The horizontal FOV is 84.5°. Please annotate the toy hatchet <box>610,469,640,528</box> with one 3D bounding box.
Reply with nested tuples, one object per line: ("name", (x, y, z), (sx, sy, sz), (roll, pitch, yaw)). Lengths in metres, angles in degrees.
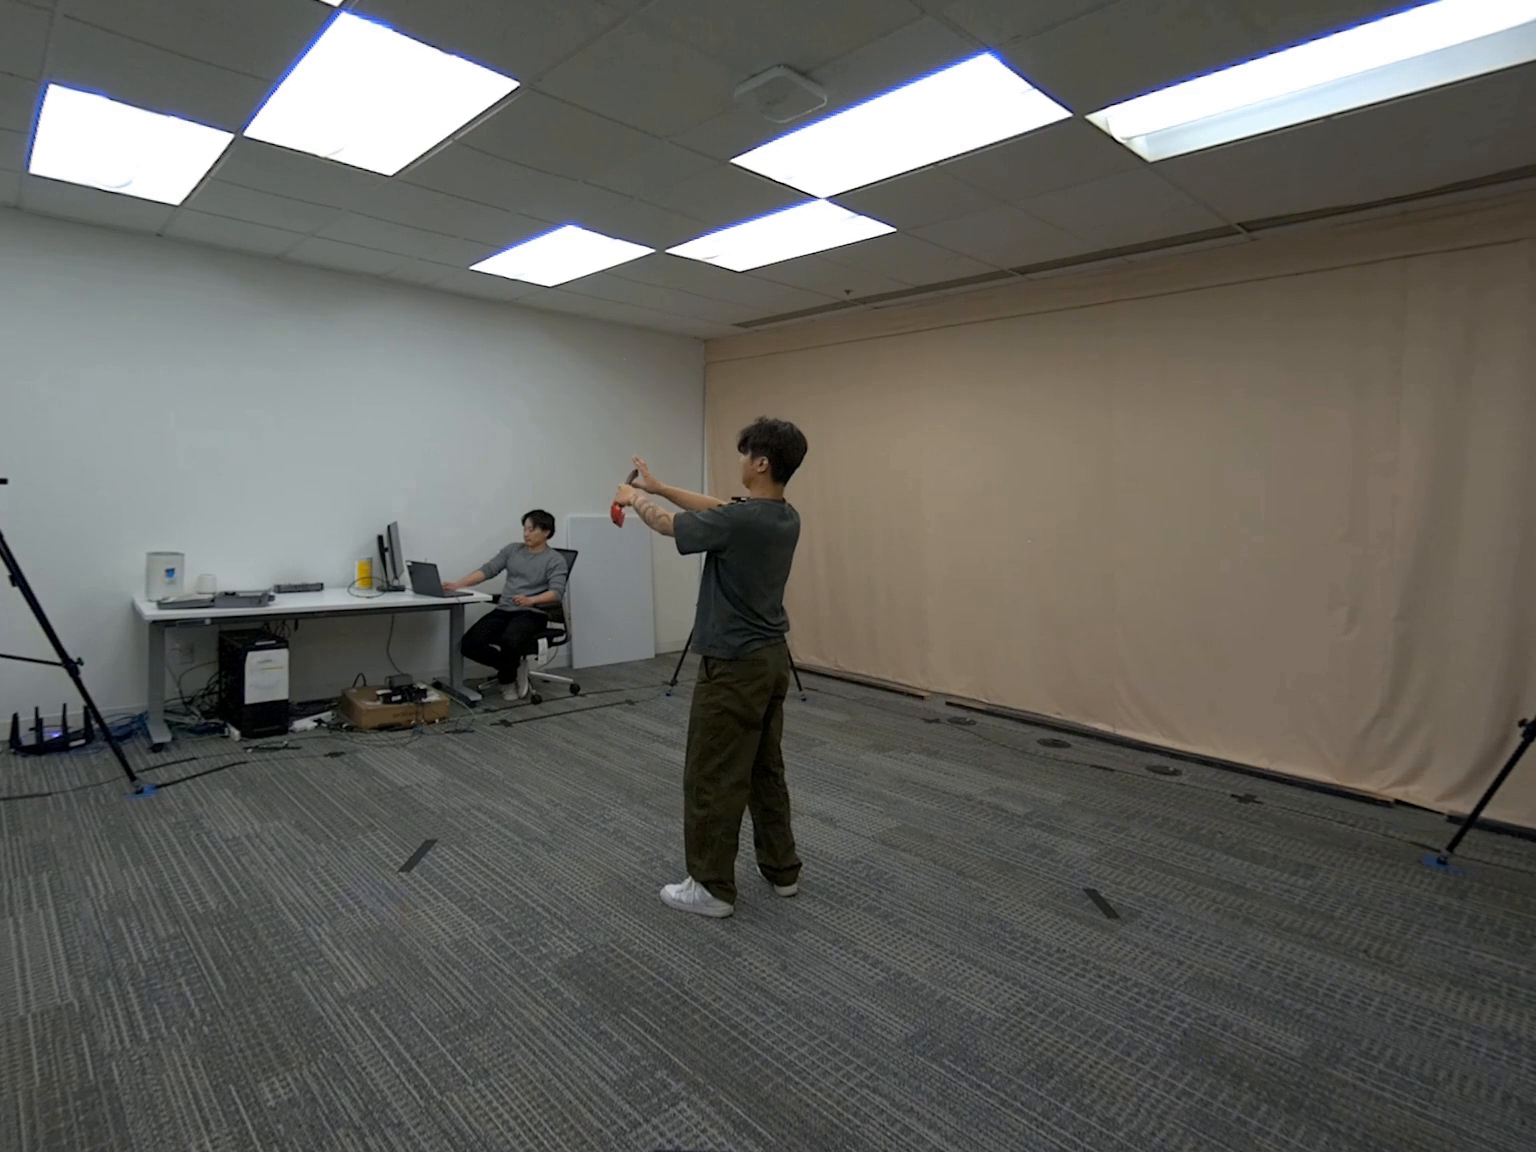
("toy hatchet", (-0.534, -0.285, 3.153), (0.030, 0.128, 0.273), (6, 39, 13))
